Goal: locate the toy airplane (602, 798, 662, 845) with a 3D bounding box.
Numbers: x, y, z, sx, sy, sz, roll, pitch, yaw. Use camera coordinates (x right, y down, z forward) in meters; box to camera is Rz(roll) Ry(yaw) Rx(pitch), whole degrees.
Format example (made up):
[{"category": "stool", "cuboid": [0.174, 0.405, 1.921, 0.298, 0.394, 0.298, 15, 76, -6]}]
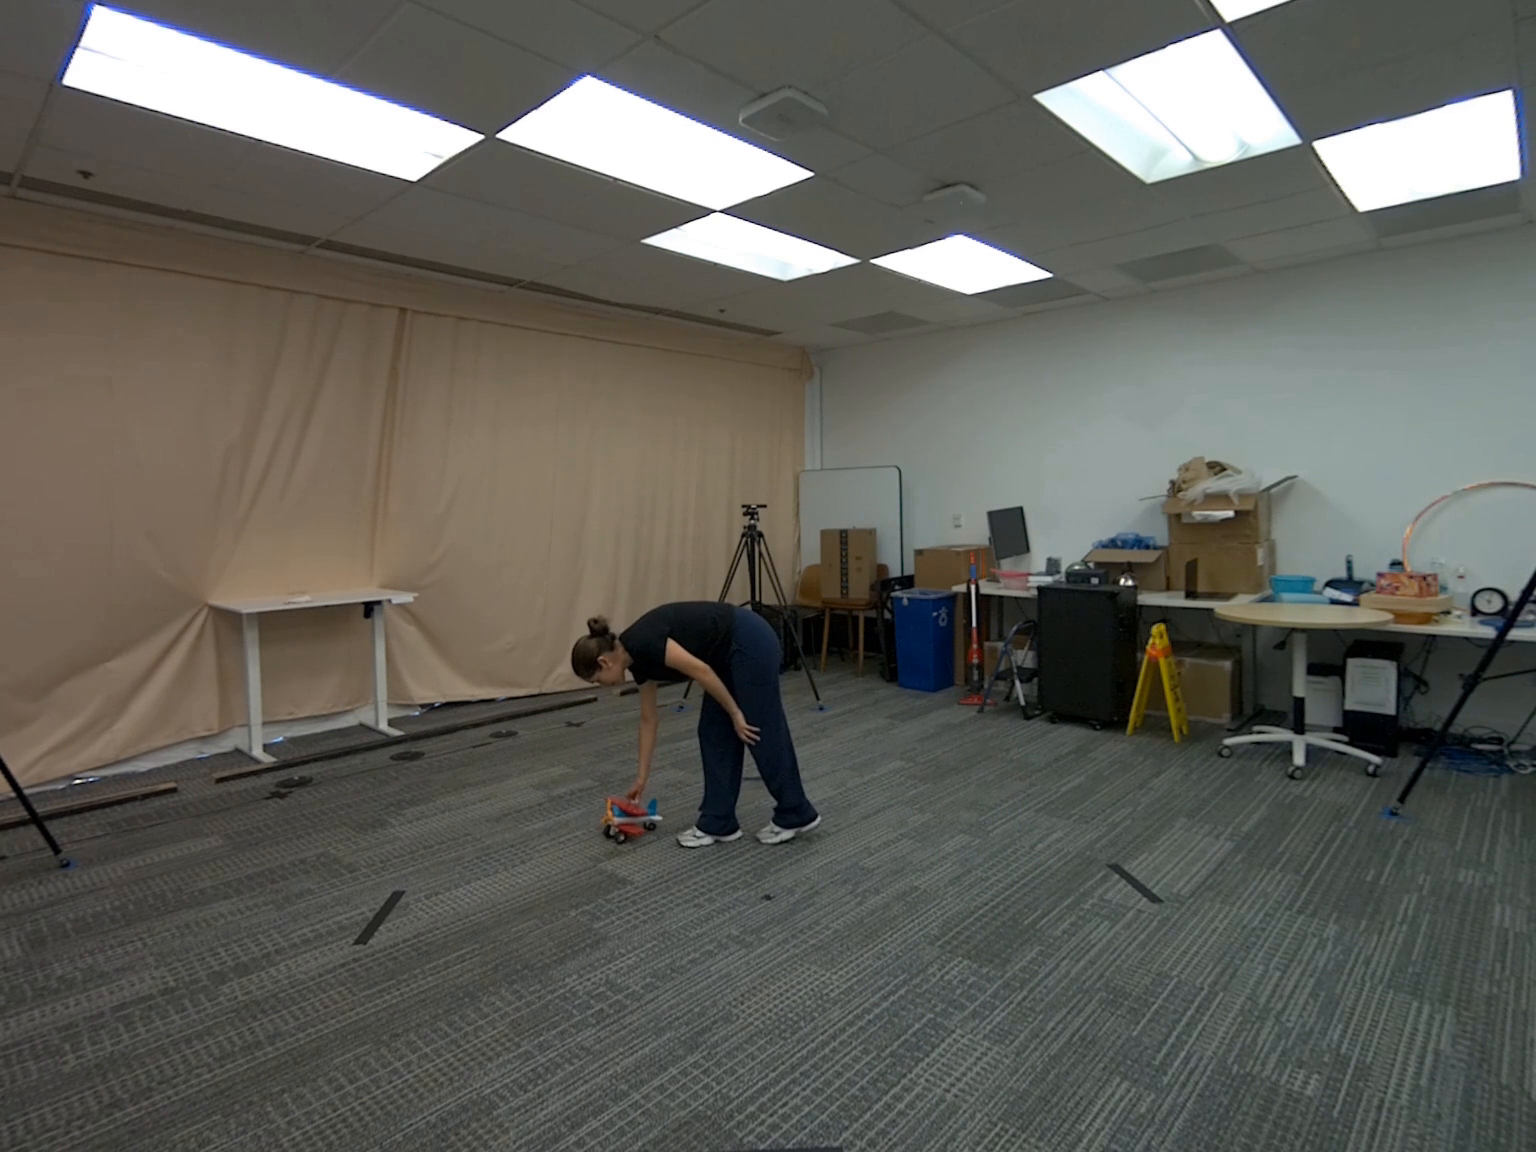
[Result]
[{"category": "toy airplane", "cuboid": [-0.581, 1.032, 3.600, 0.257, 0.156, 0.254, 1, 6, 22]}]
